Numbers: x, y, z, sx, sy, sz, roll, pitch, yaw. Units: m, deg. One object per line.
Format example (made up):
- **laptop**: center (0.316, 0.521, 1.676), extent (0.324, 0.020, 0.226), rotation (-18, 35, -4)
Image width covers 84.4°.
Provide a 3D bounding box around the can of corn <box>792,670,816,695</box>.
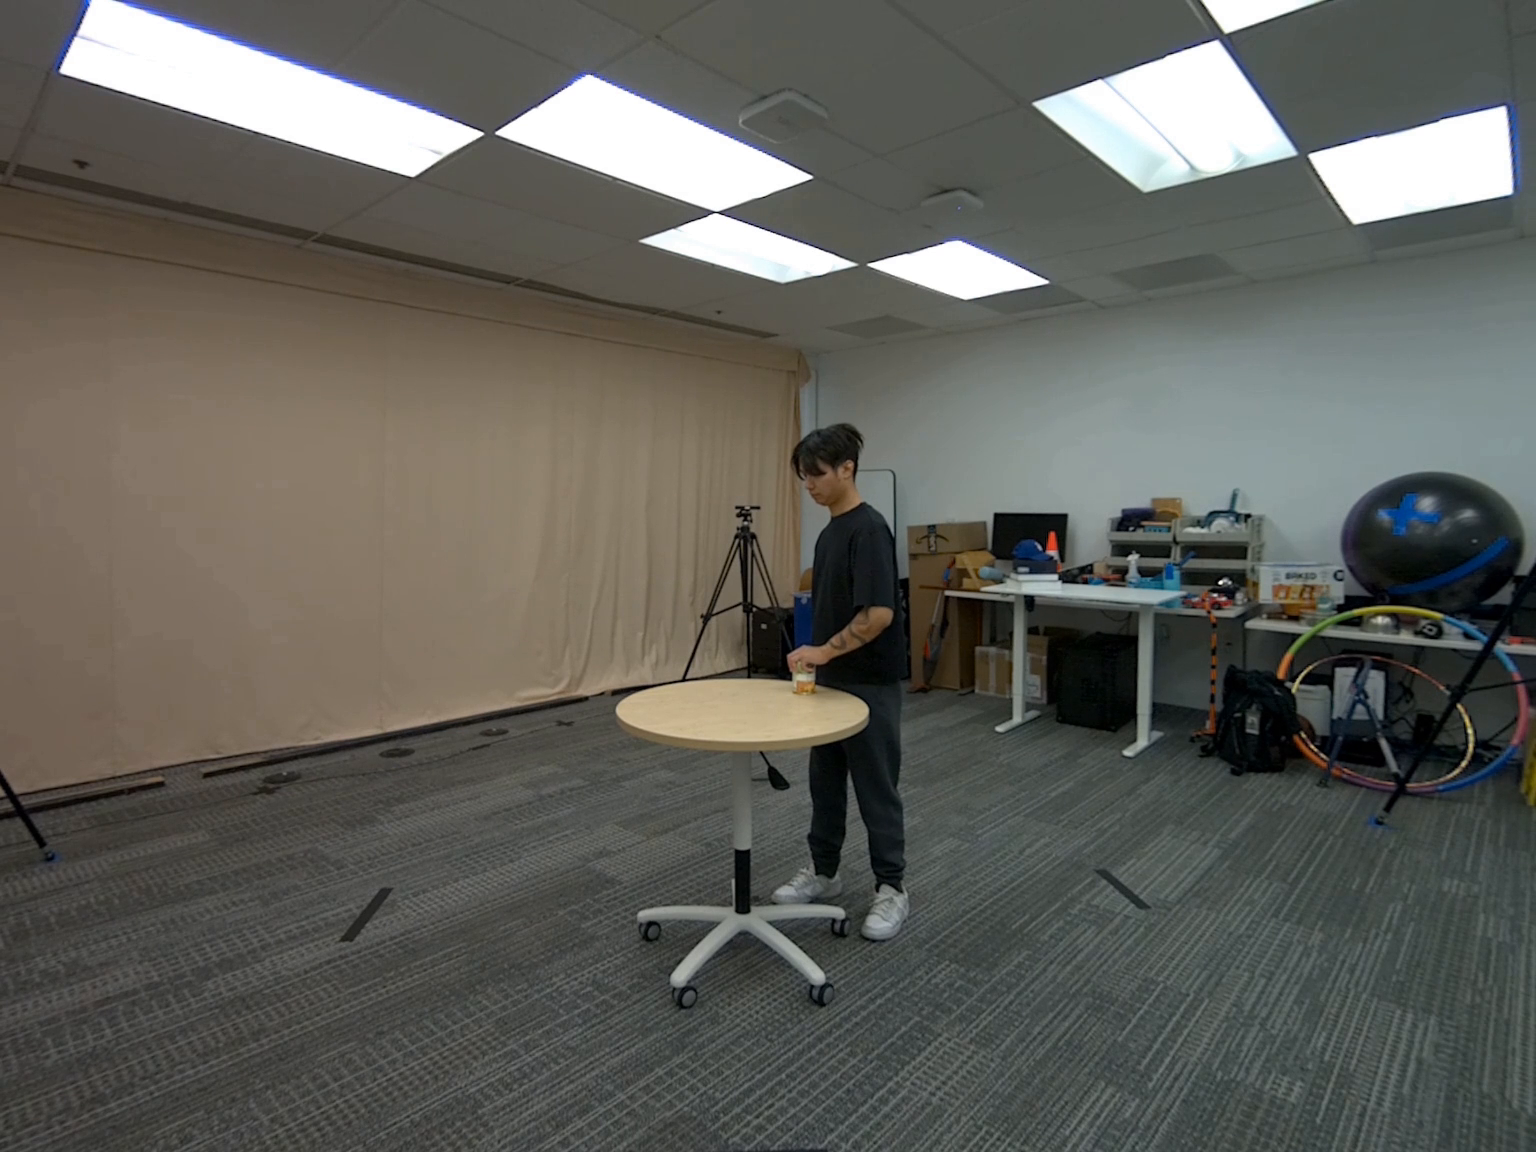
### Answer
- **can of corn**: center (0.122, 0.330, 2.738), extent (0.074, 0.111, 0.074), rotation (4, 5, -2)
